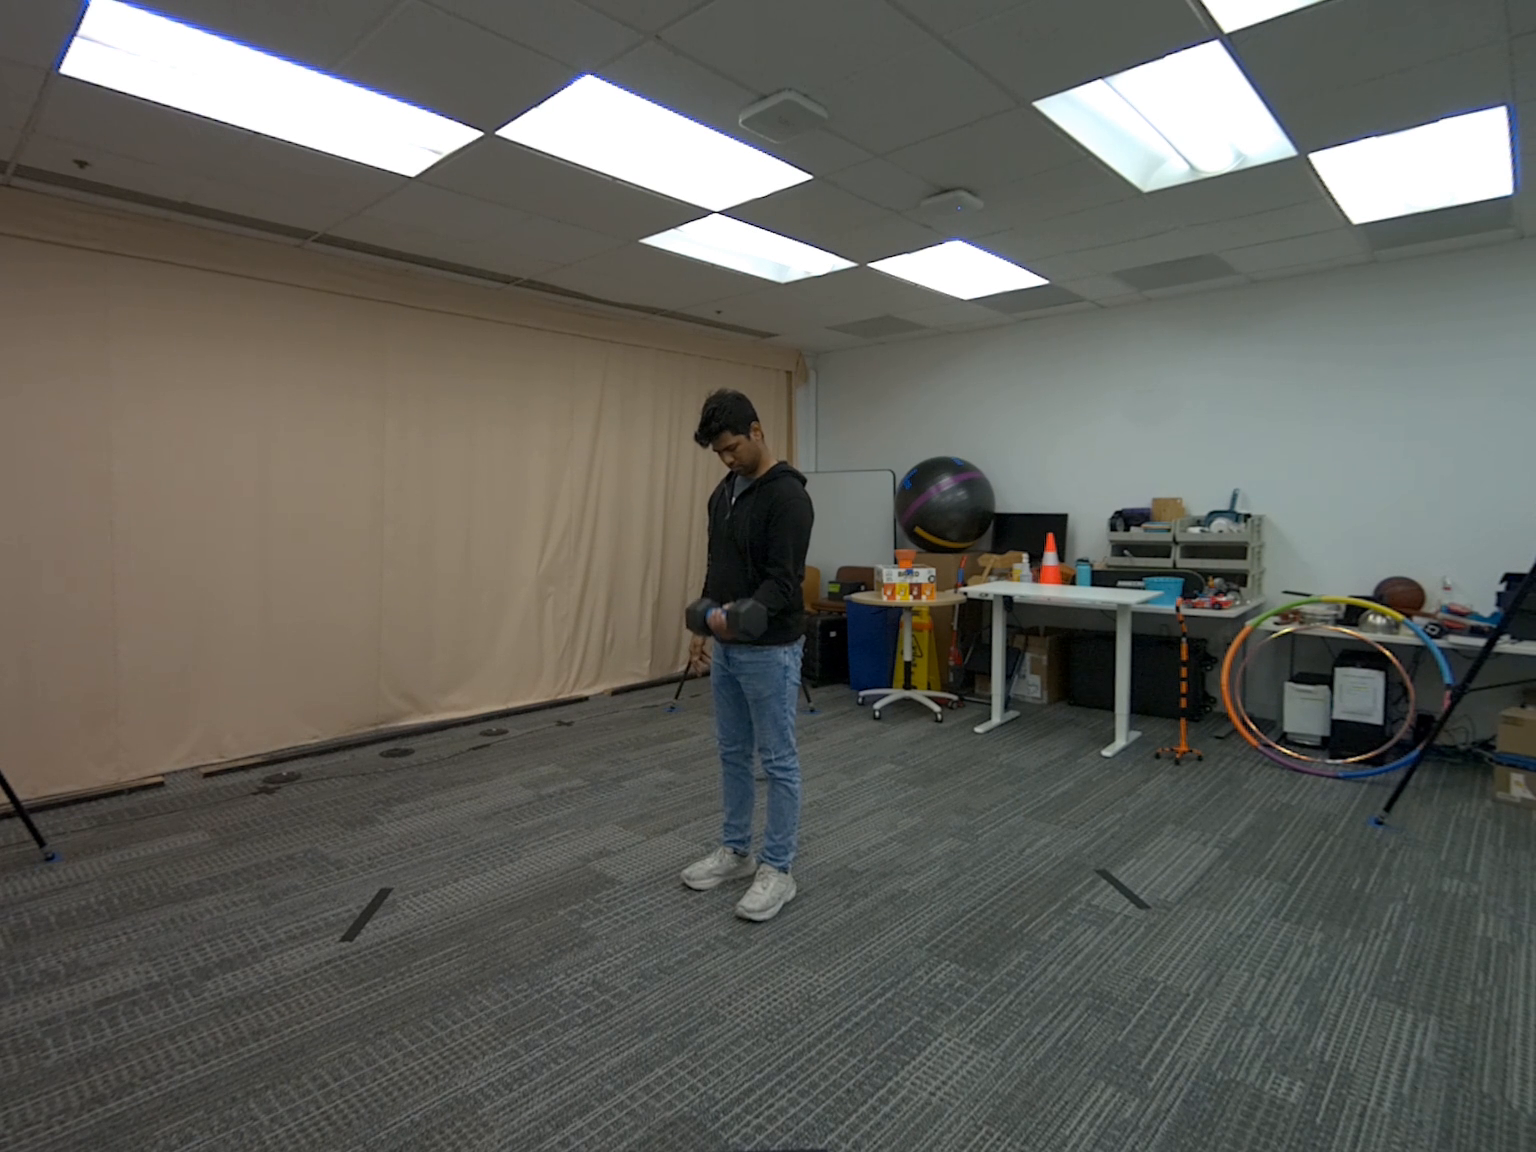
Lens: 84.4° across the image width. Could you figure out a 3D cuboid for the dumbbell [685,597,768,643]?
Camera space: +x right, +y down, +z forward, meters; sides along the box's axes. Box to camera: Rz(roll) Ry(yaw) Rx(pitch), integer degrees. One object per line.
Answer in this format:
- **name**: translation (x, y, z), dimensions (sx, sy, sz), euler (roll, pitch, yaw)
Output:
- **dumbbell**: translation (-0.122, 0.124, 2.594), dimensions (0.119, 0.109, 0.302), euler (35, -22, -32)
